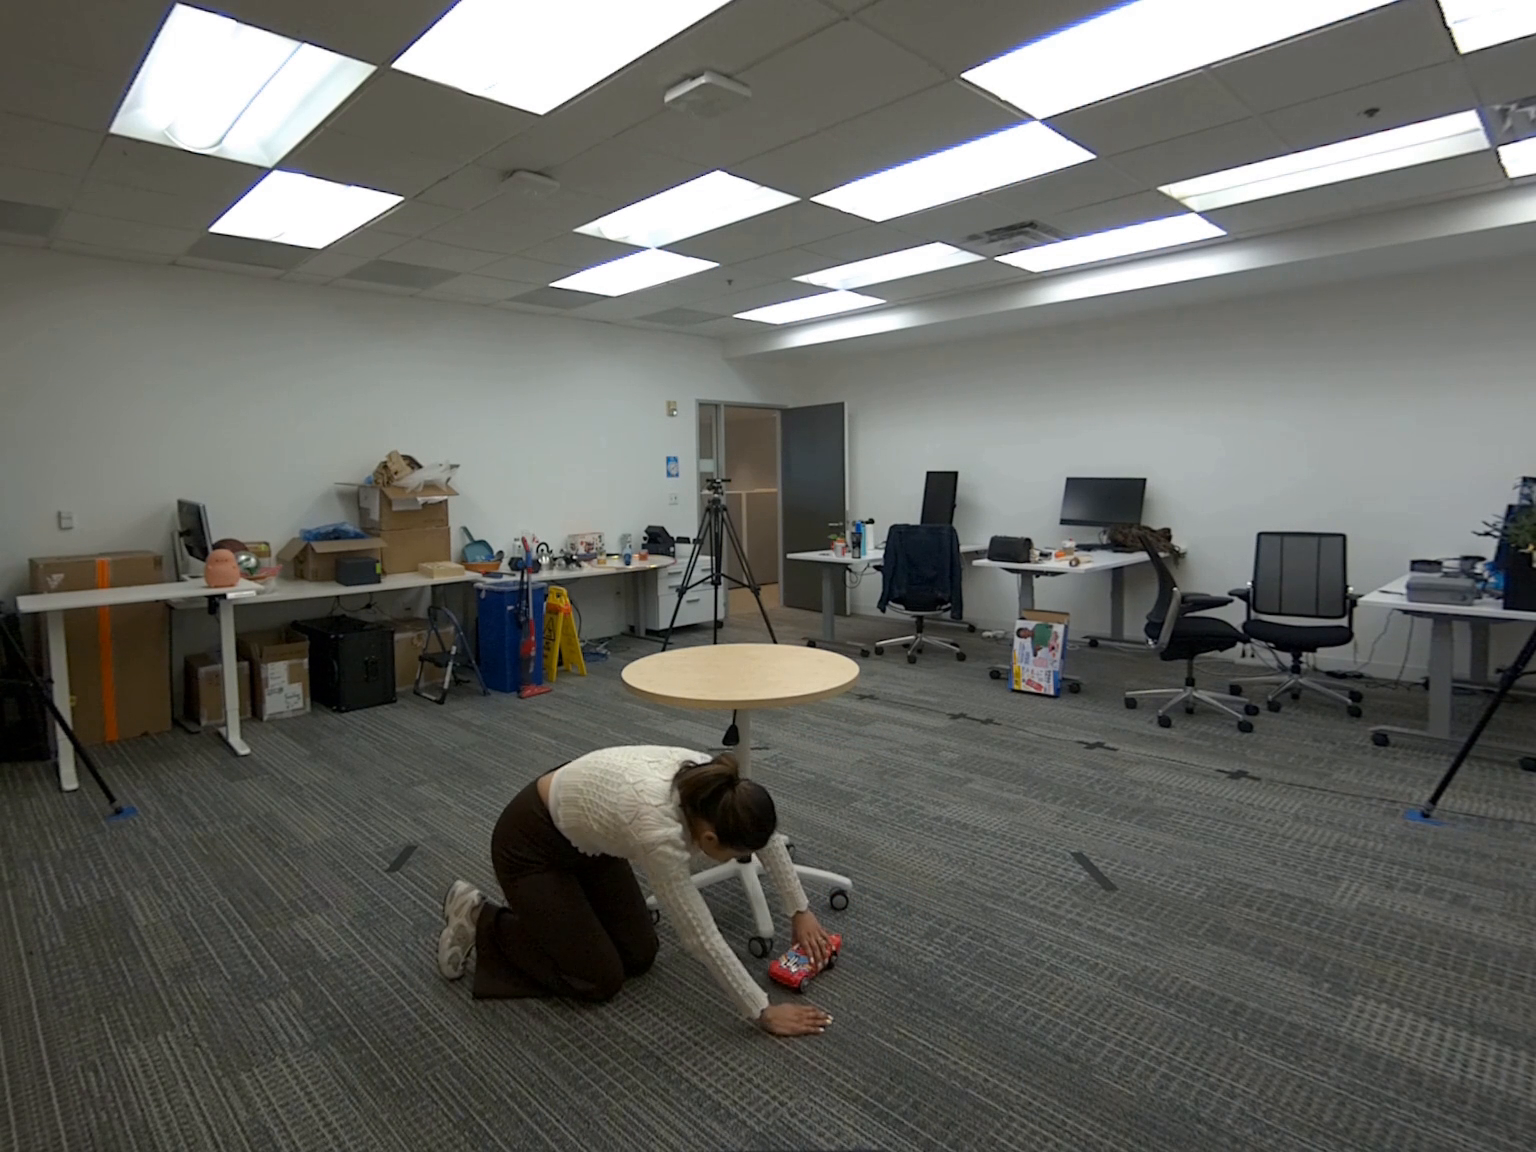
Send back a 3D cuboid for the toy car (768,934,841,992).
[{"bbox_3d":[0.104,1.088,2.434,0.134,0.082,0.250,4,19,38],"label":"toy car"}]
